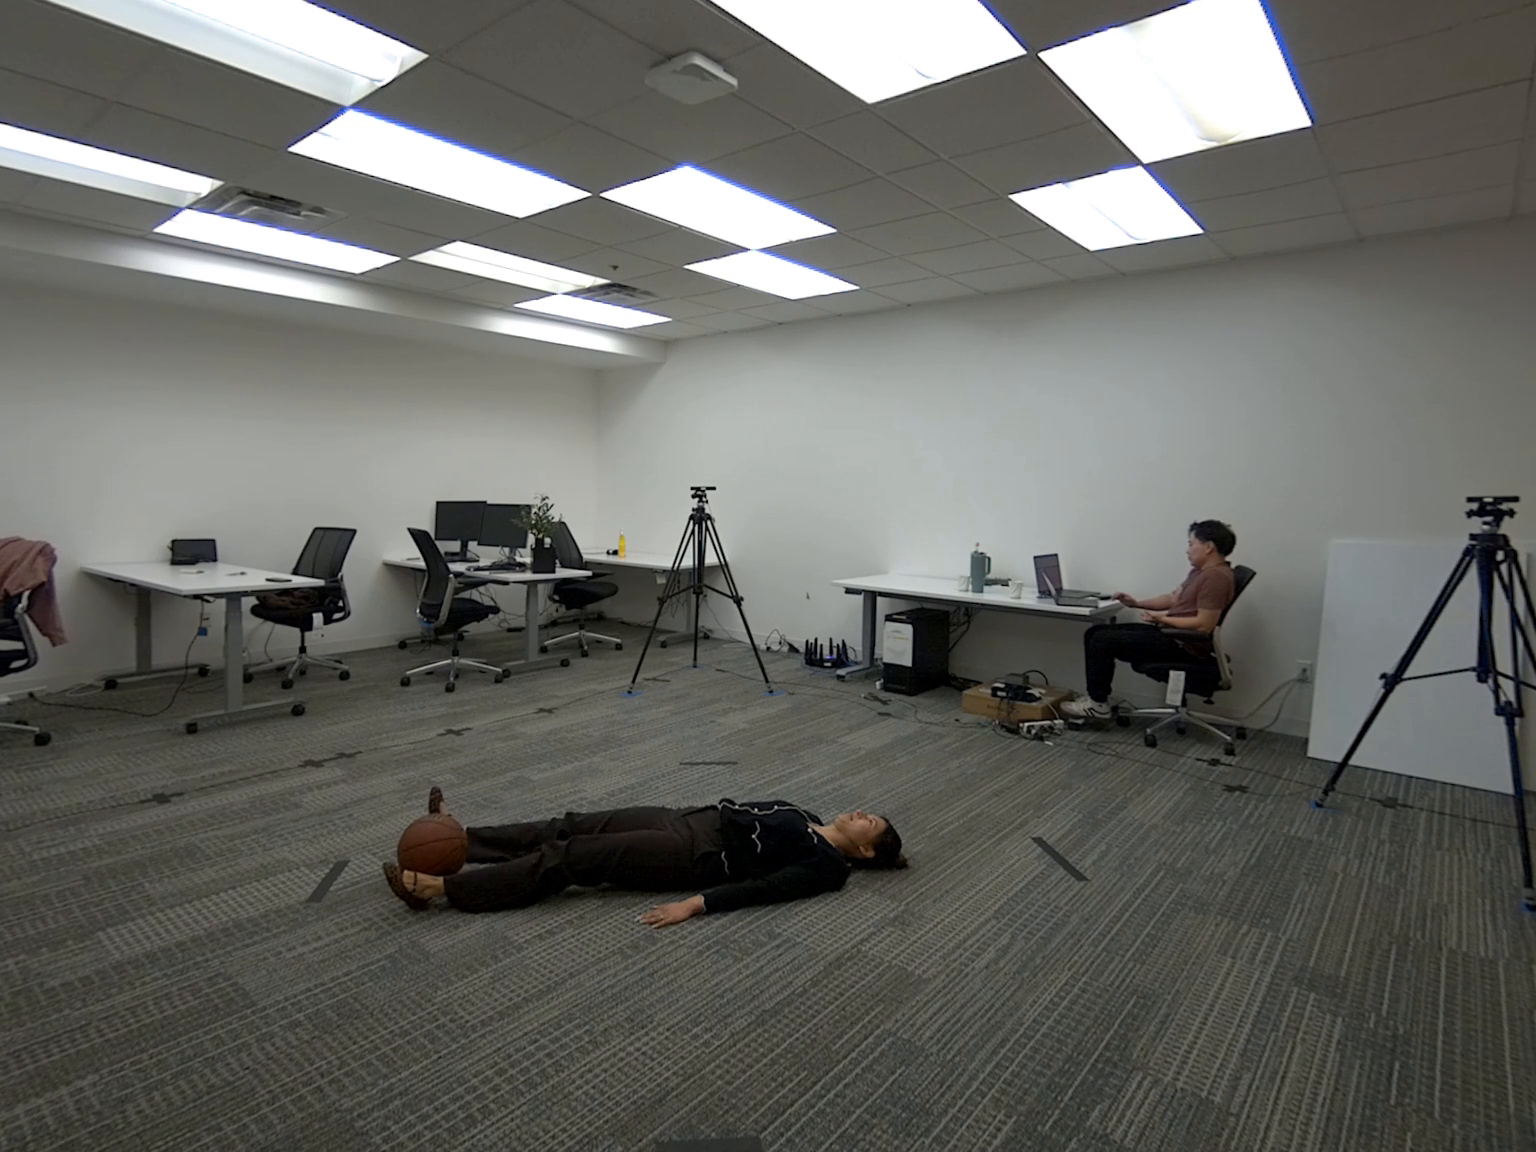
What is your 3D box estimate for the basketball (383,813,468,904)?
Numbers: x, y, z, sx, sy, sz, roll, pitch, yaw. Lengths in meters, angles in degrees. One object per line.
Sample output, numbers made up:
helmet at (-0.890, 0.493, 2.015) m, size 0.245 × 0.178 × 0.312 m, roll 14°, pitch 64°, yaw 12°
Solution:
basketball at (-1.181, 0.951, 2.961) m, size 0.236 × 0.234 × 0.238 m, roll 0°, pitch 7°, yaw -2°
